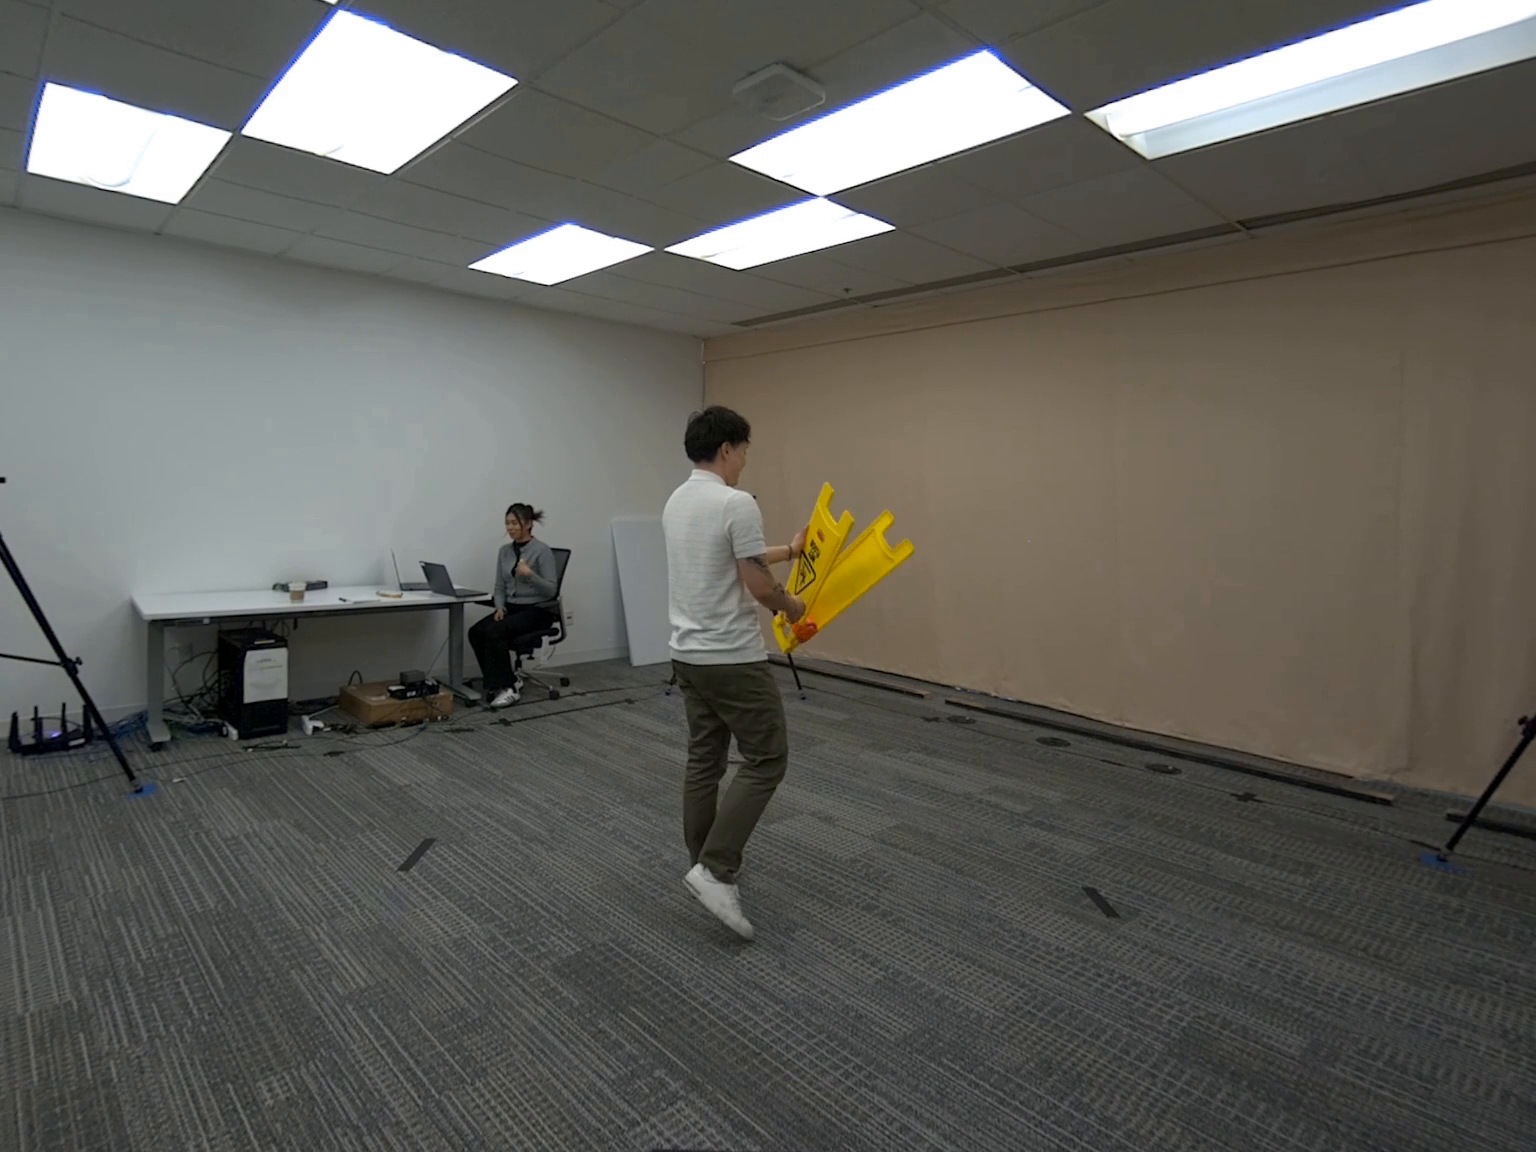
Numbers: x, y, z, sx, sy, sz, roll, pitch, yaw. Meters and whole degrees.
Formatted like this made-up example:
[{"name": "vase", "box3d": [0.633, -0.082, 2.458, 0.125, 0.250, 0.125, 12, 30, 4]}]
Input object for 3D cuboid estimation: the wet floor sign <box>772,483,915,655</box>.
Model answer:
[{"name": "wet floor sign", "box3d": [0.206, 0.011, 3.238, 0.283, 0.644, 0.290, 23, 25, -27]}]
